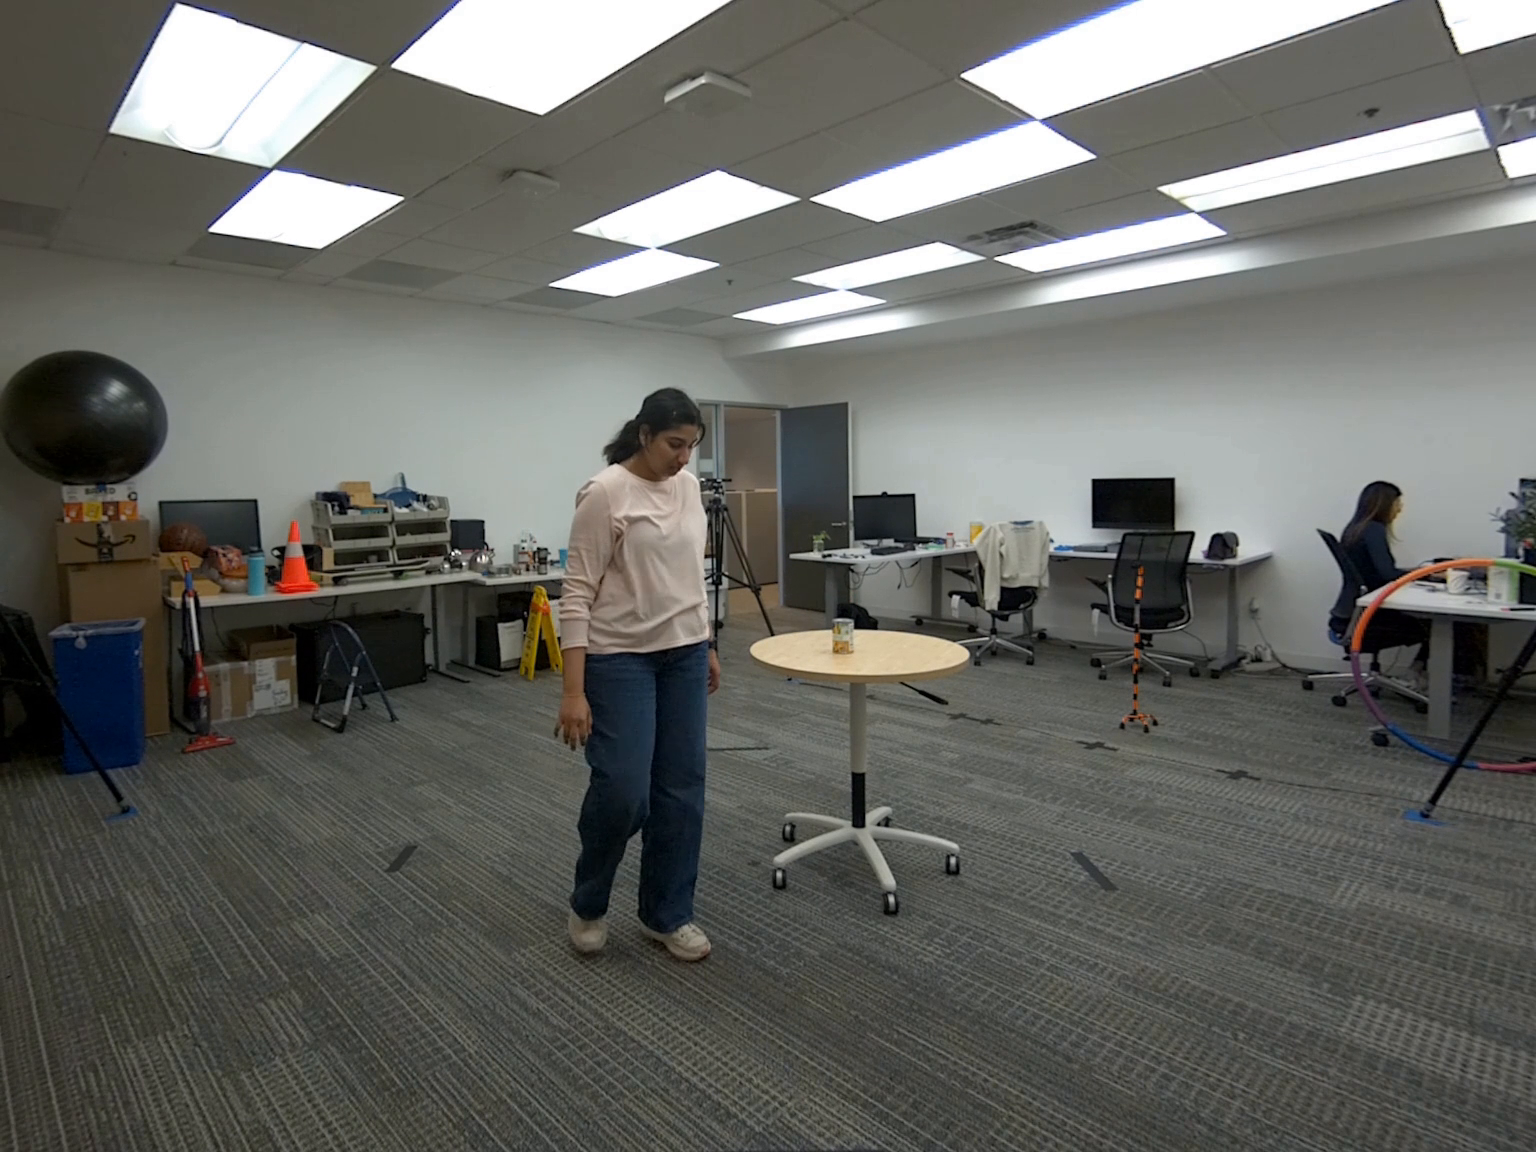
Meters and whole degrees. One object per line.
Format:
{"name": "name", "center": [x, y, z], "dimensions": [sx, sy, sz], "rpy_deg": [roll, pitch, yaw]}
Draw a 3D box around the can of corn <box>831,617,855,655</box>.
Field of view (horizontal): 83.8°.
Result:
{"name": "can of corn", "center": [0.272, 0.213, 2.993], "dimensions": [0.074, 0.110, 0.075], "rpy_deg": [1, 6, -2]}
